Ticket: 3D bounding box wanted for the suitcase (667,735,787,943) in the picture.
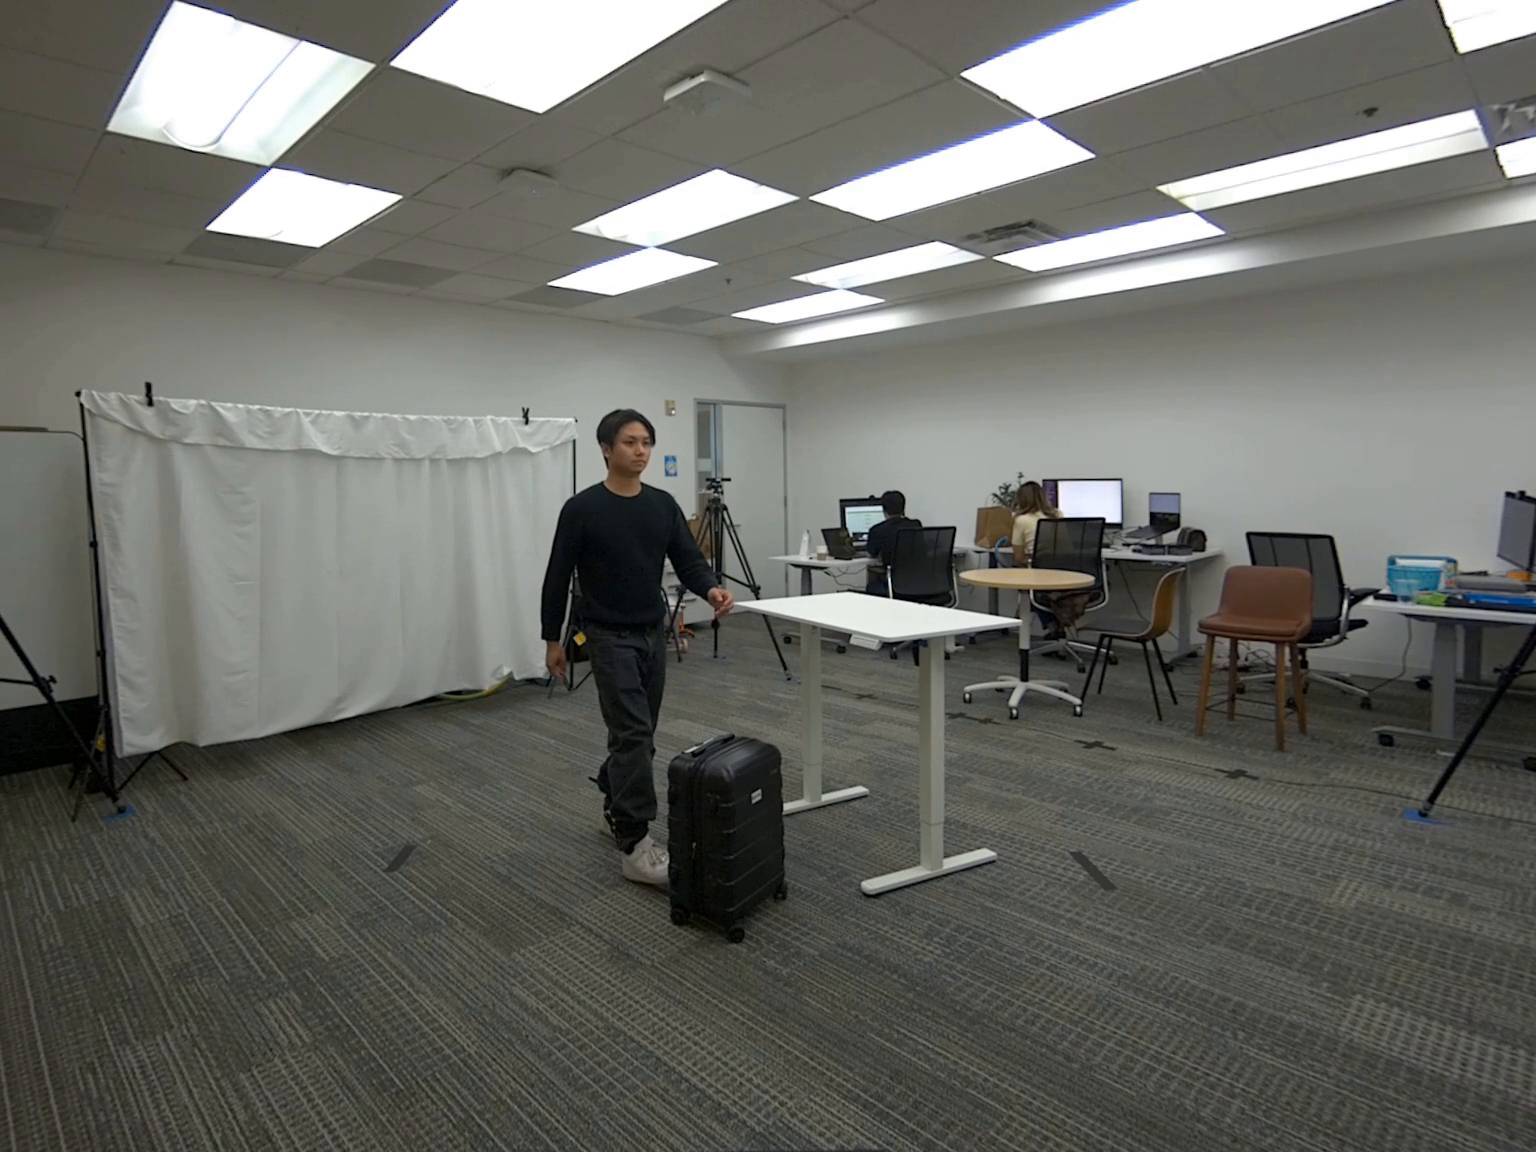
[{"bbox_3d":[-0.128,0.805,2.743,0.255,0.547,0.366,2,5,34],"label":"suitcase"}]
